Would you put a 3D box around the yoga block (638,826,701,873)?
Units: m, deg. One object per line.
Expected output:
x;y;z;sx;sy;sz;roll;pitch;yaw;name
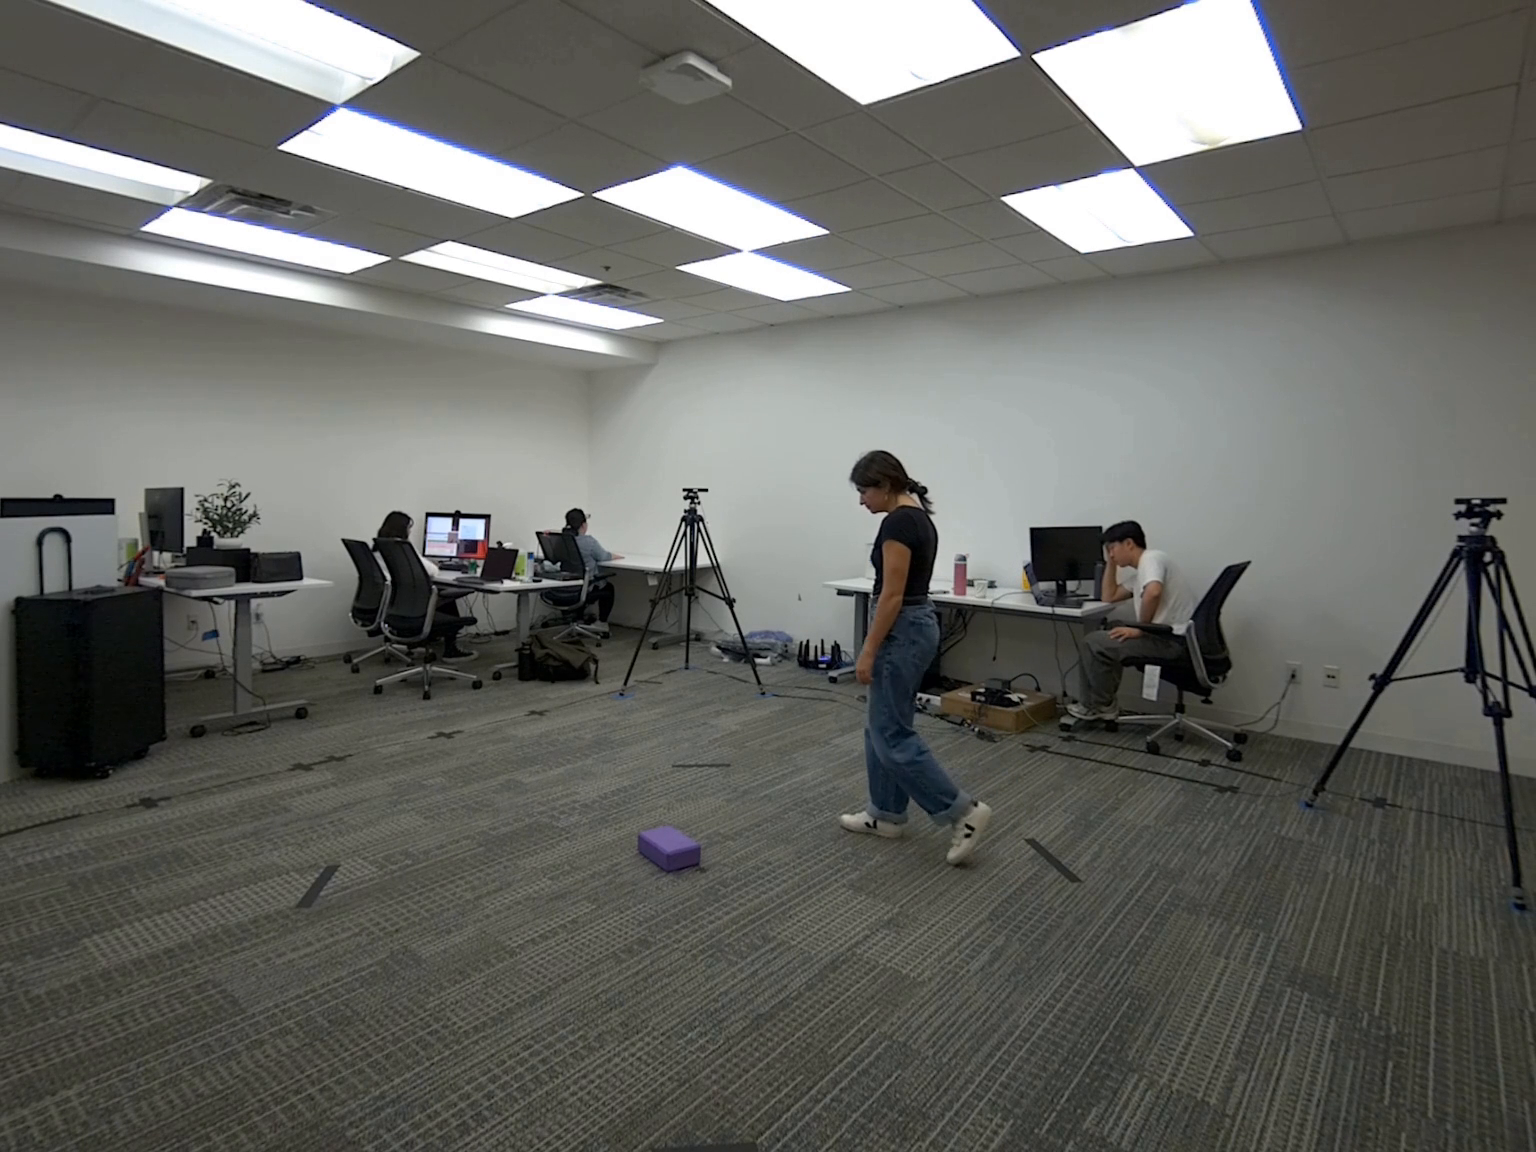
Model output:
-0.375;1.013;3.202;0.145;0.076;0.237;-3;6;-36;yoga block
